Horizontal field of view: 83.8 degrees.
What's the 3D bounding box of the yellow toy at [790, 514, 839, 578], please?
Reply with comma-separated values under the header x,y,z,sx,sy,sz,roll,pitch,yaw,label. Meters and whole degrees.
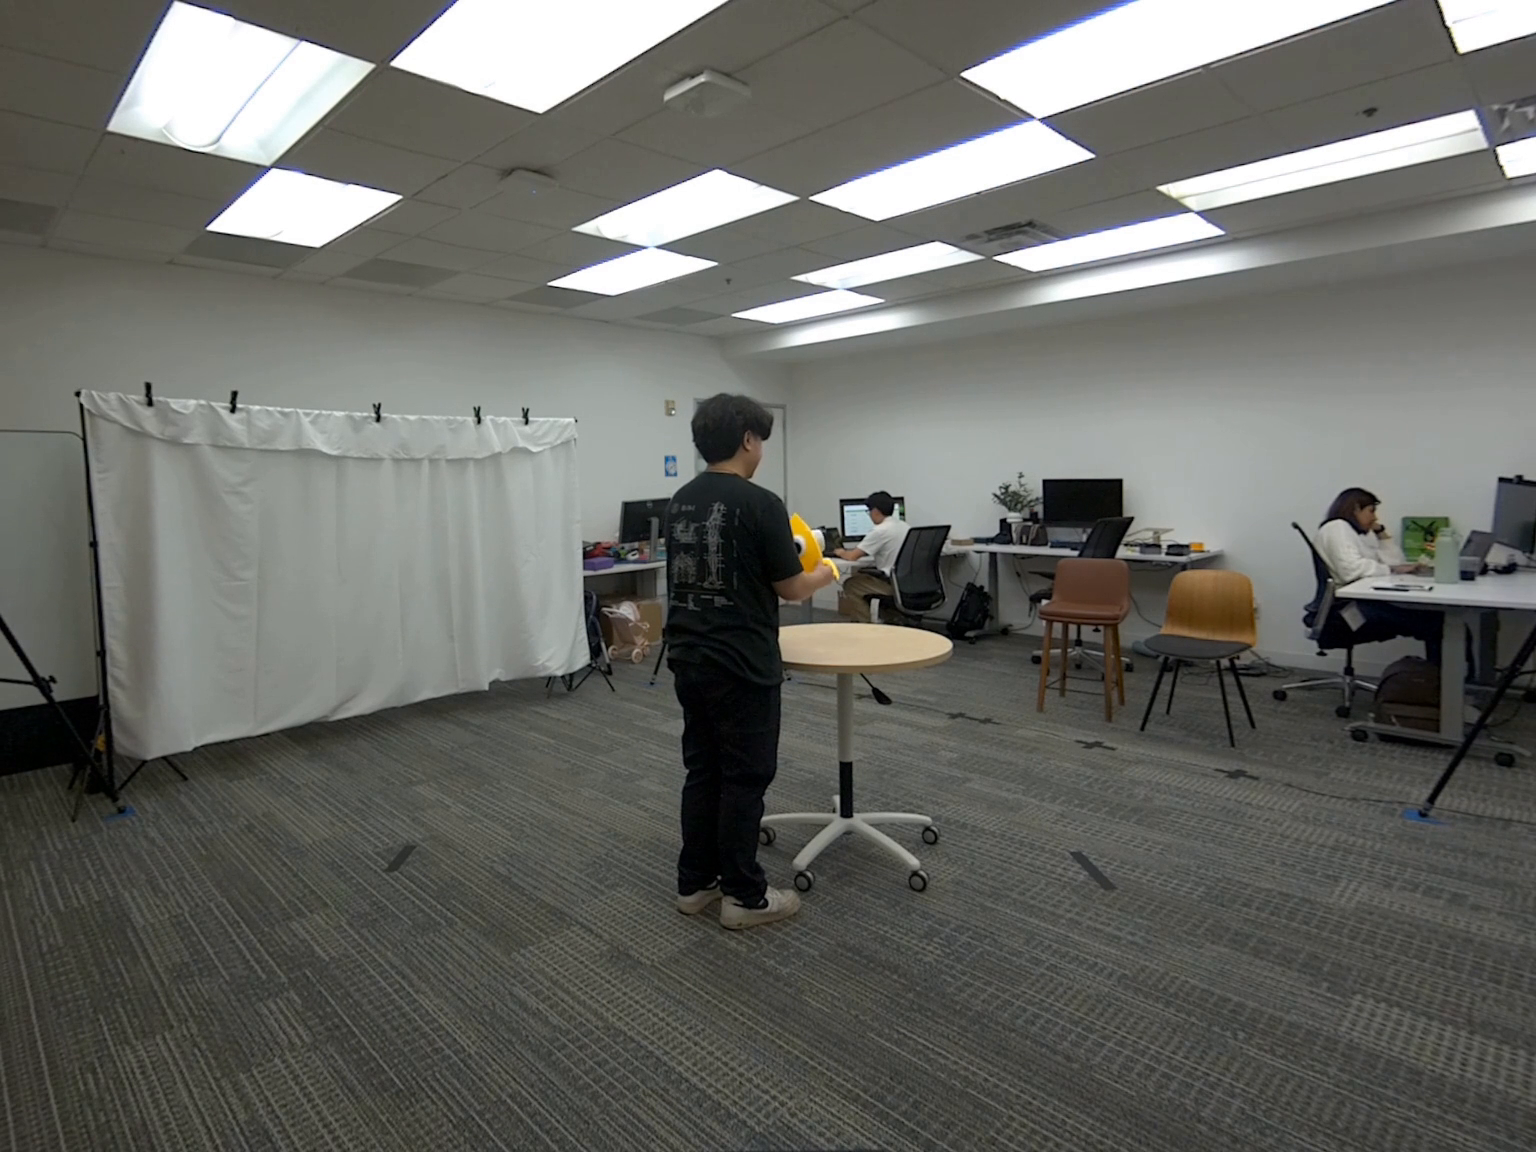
x,y,z,sx,sy,sz,roll,pitch,yaw,label
0.140,-0.094,3.041,0.201,0.227,0.200,-15,21,-35,yellow toy
